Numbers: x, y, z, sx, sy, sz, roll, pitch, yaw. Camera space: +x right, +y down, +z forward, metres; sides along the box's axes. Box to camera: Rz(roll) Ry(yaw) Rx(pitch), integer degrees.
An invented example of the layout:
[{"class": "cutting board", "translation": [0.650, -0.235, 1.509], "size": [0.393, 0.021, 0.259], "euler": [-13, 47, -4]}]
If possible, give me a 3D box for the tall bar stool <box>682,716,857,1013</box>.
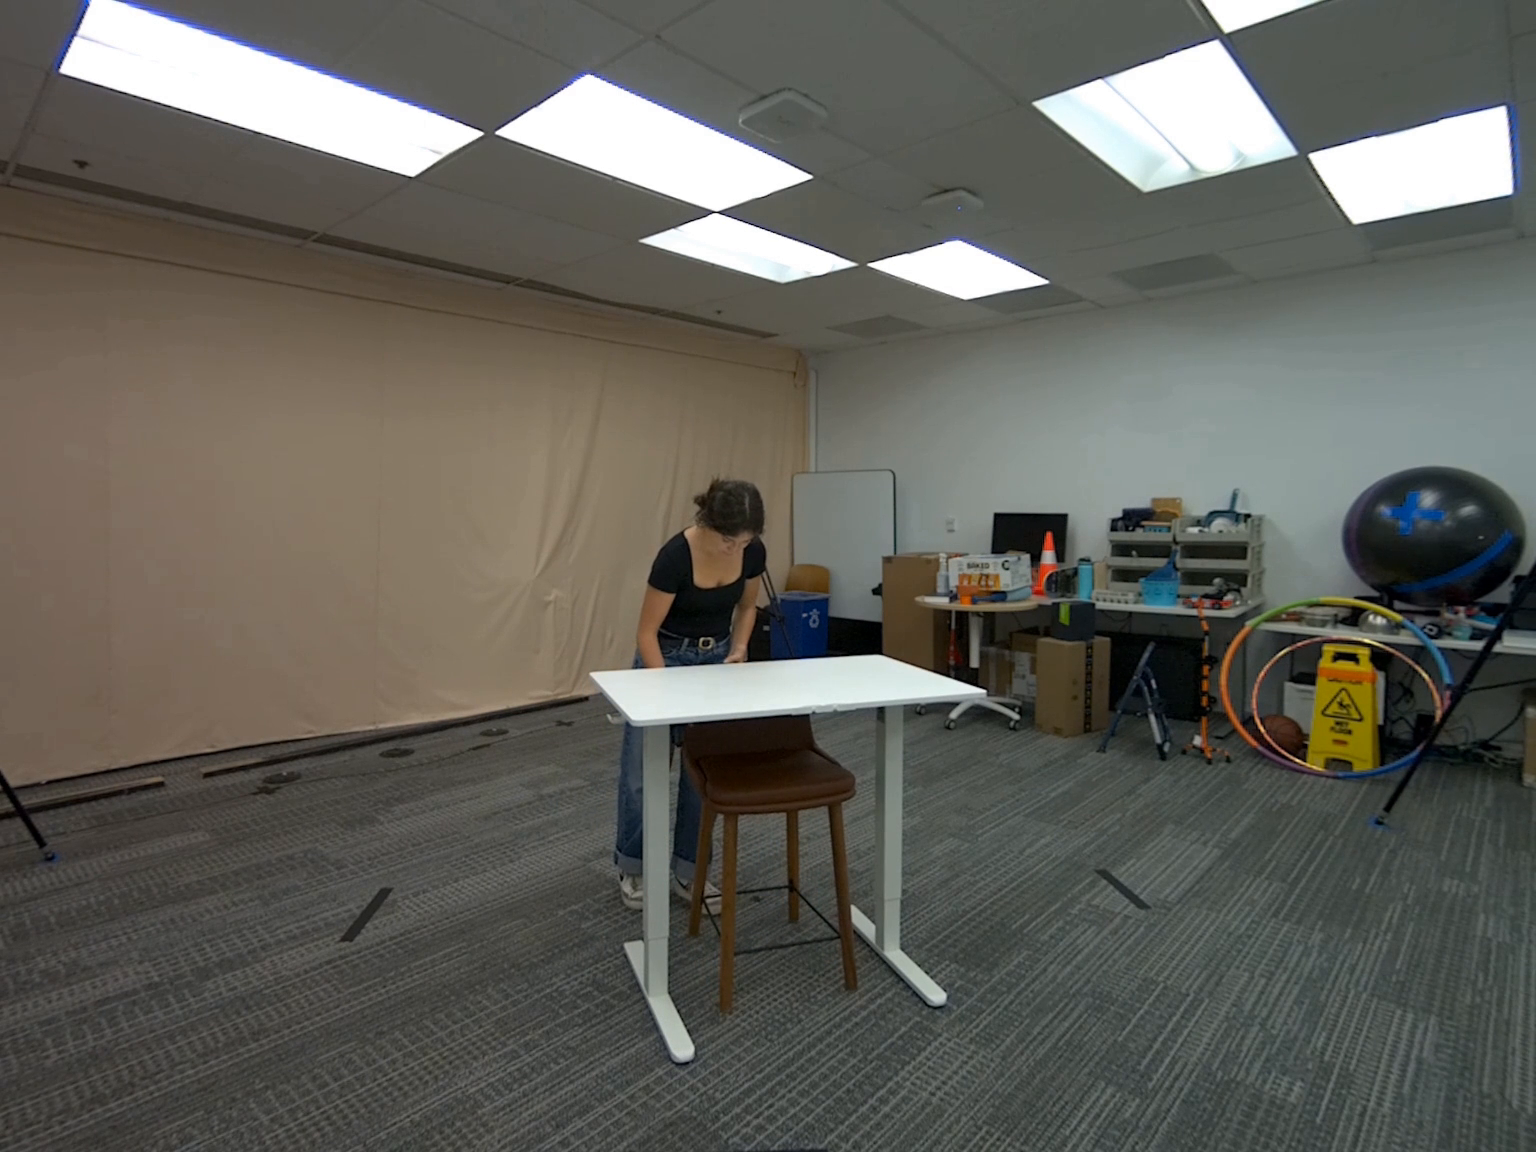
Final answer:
[{"class": "tall bar stool", "translation": [-0.008, 0.749, 2.560], "size": [0.449, 0.889, 0.476], "euler": [-1, 1, -17]}]
